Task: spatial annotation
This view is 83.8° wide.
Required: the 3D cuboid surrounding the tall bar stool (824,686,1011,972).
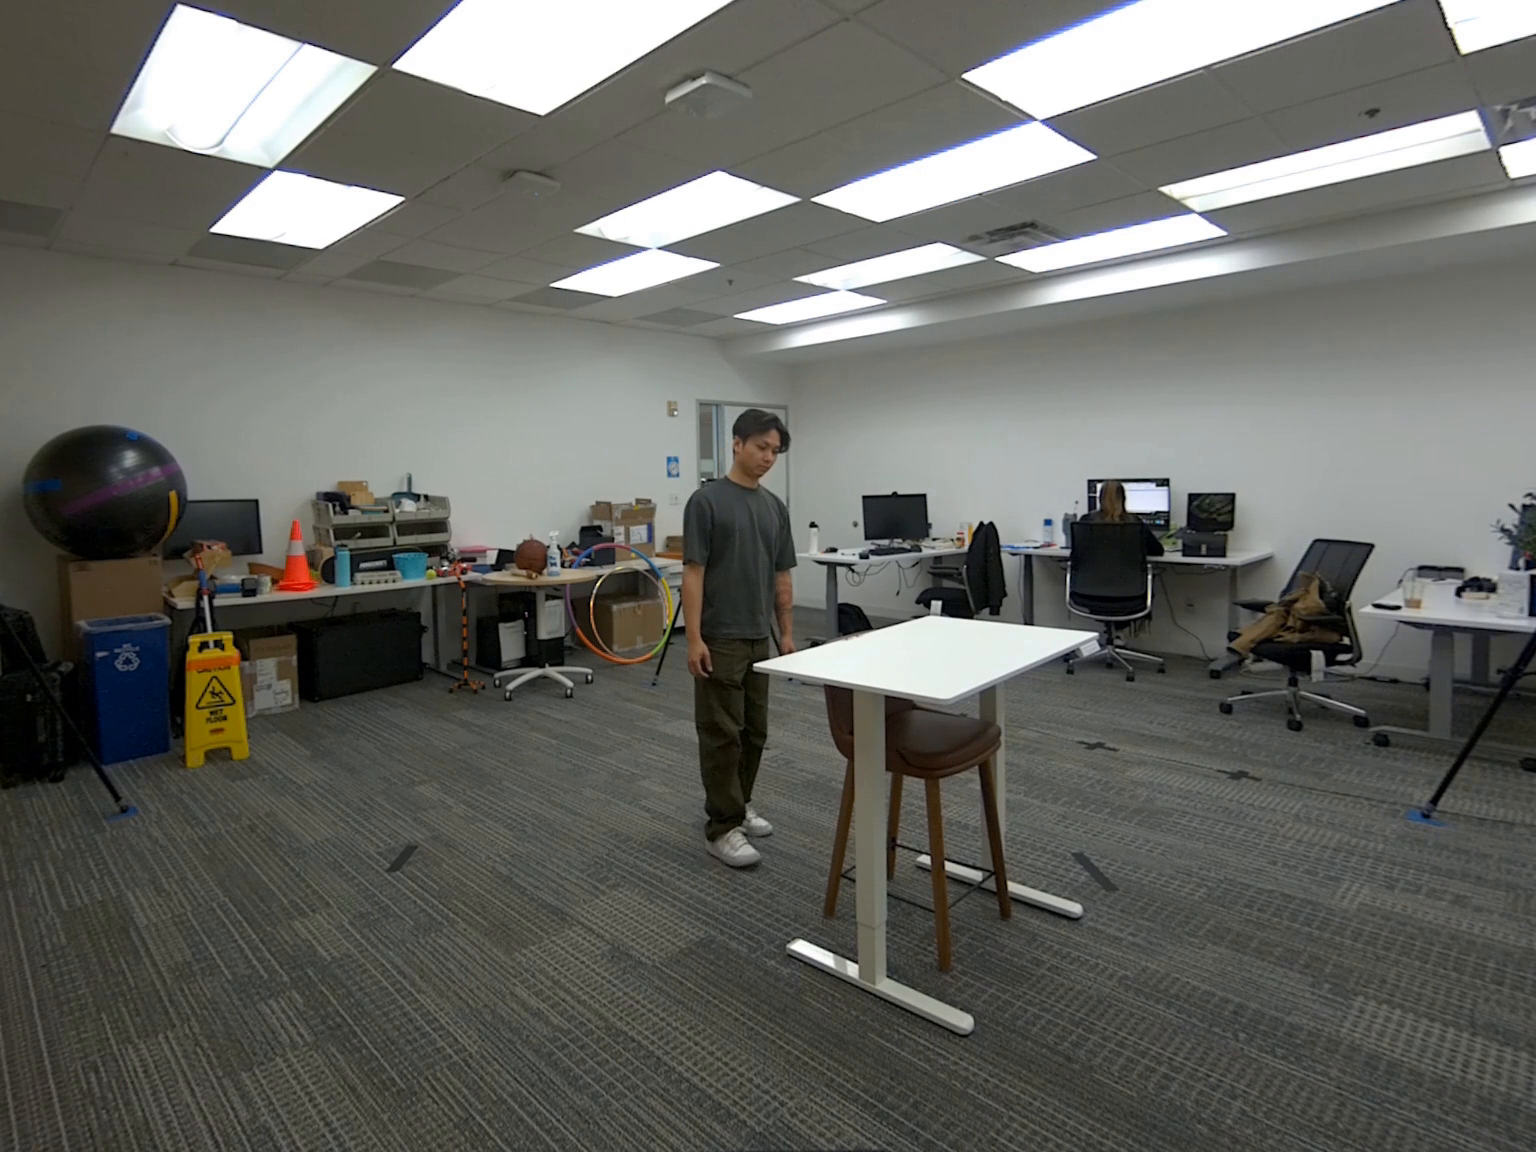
[{"bbox_3d":[0.453,0.647,2.685,0.481,0.888,0.444,-1,3,43],"label":"tall bar stool"}]
